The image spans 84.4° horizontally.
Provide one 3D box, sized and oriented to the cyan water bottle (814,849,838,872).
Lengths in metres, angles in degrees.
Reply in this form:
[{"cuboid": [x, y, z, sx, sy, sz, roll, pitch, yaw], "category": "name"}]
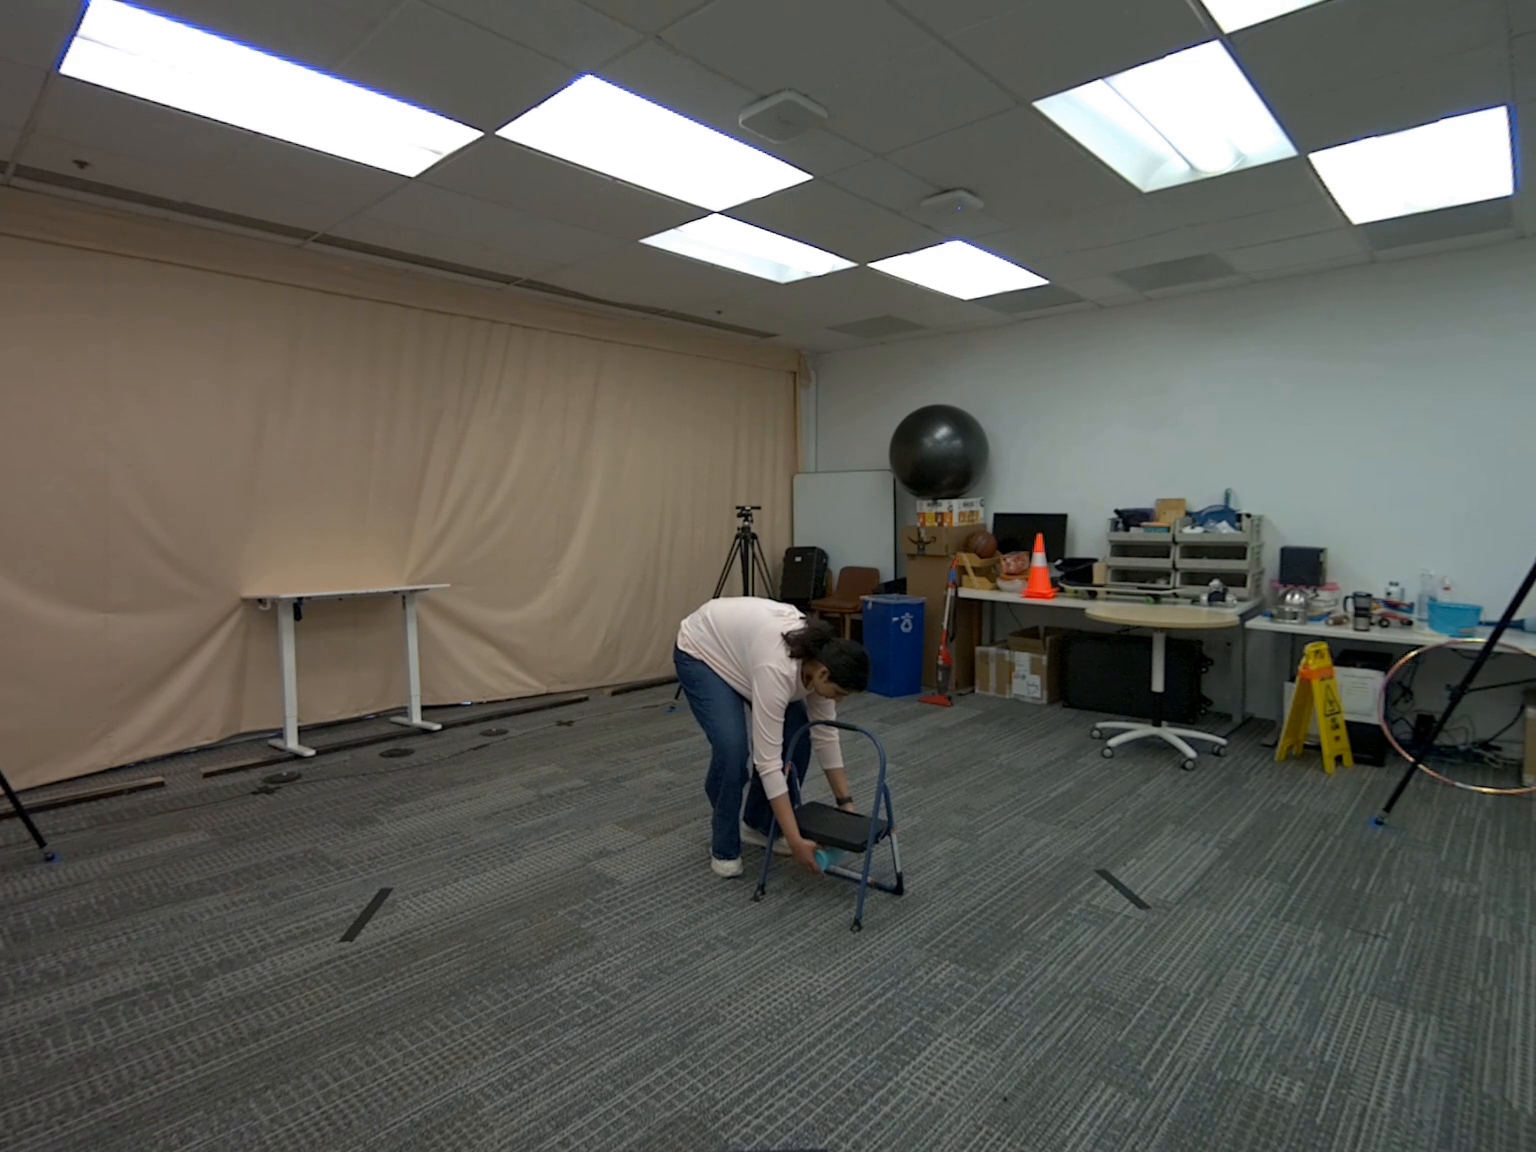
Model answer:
[{"cuboid": [0.234, 0.968, 3.056, 0.095, 0.092, 0.276, 3, 11, 36], "category": "cyan water bottle"}]
